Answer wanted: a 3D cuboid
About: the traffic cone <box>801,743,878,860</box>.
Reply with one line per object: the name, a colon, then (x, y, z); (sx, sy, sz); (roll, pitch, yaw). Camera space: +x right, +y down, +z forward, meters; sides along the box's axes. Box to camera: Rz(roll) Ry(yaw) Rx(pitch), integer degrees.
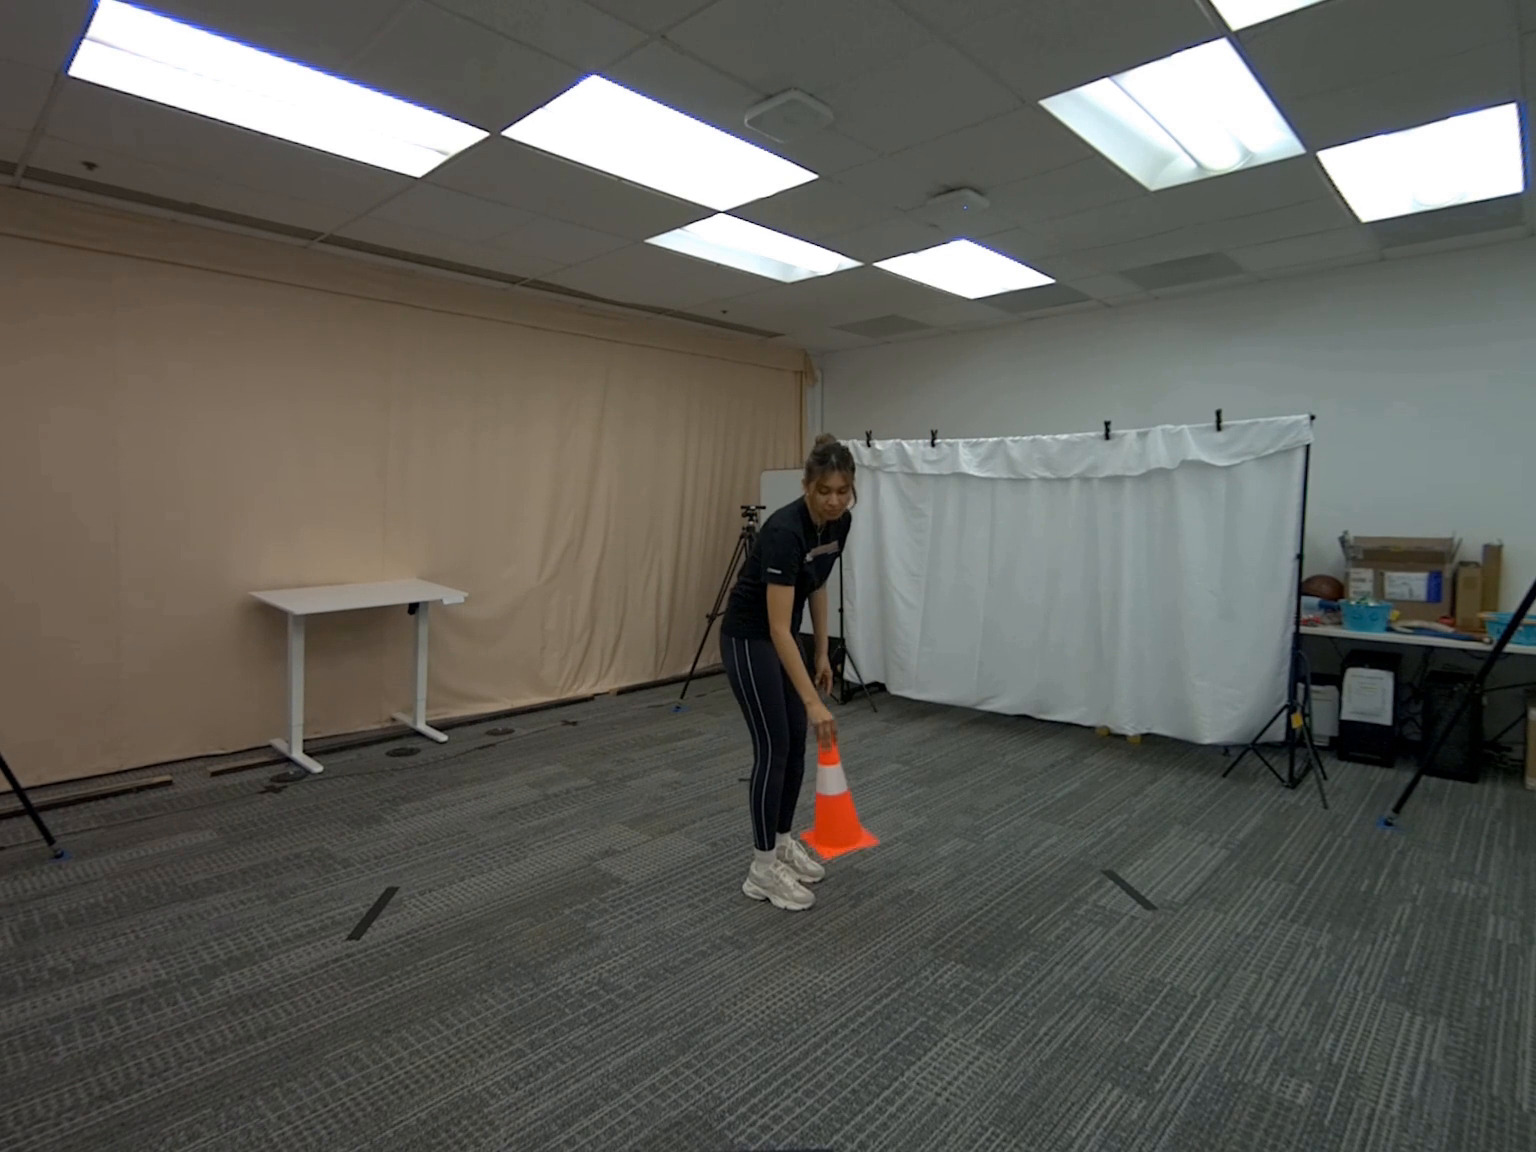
traffic cone: (0.211, 0.656, 2.710); (0.199, 0.382, 0.210); (-10, 7, -25)
